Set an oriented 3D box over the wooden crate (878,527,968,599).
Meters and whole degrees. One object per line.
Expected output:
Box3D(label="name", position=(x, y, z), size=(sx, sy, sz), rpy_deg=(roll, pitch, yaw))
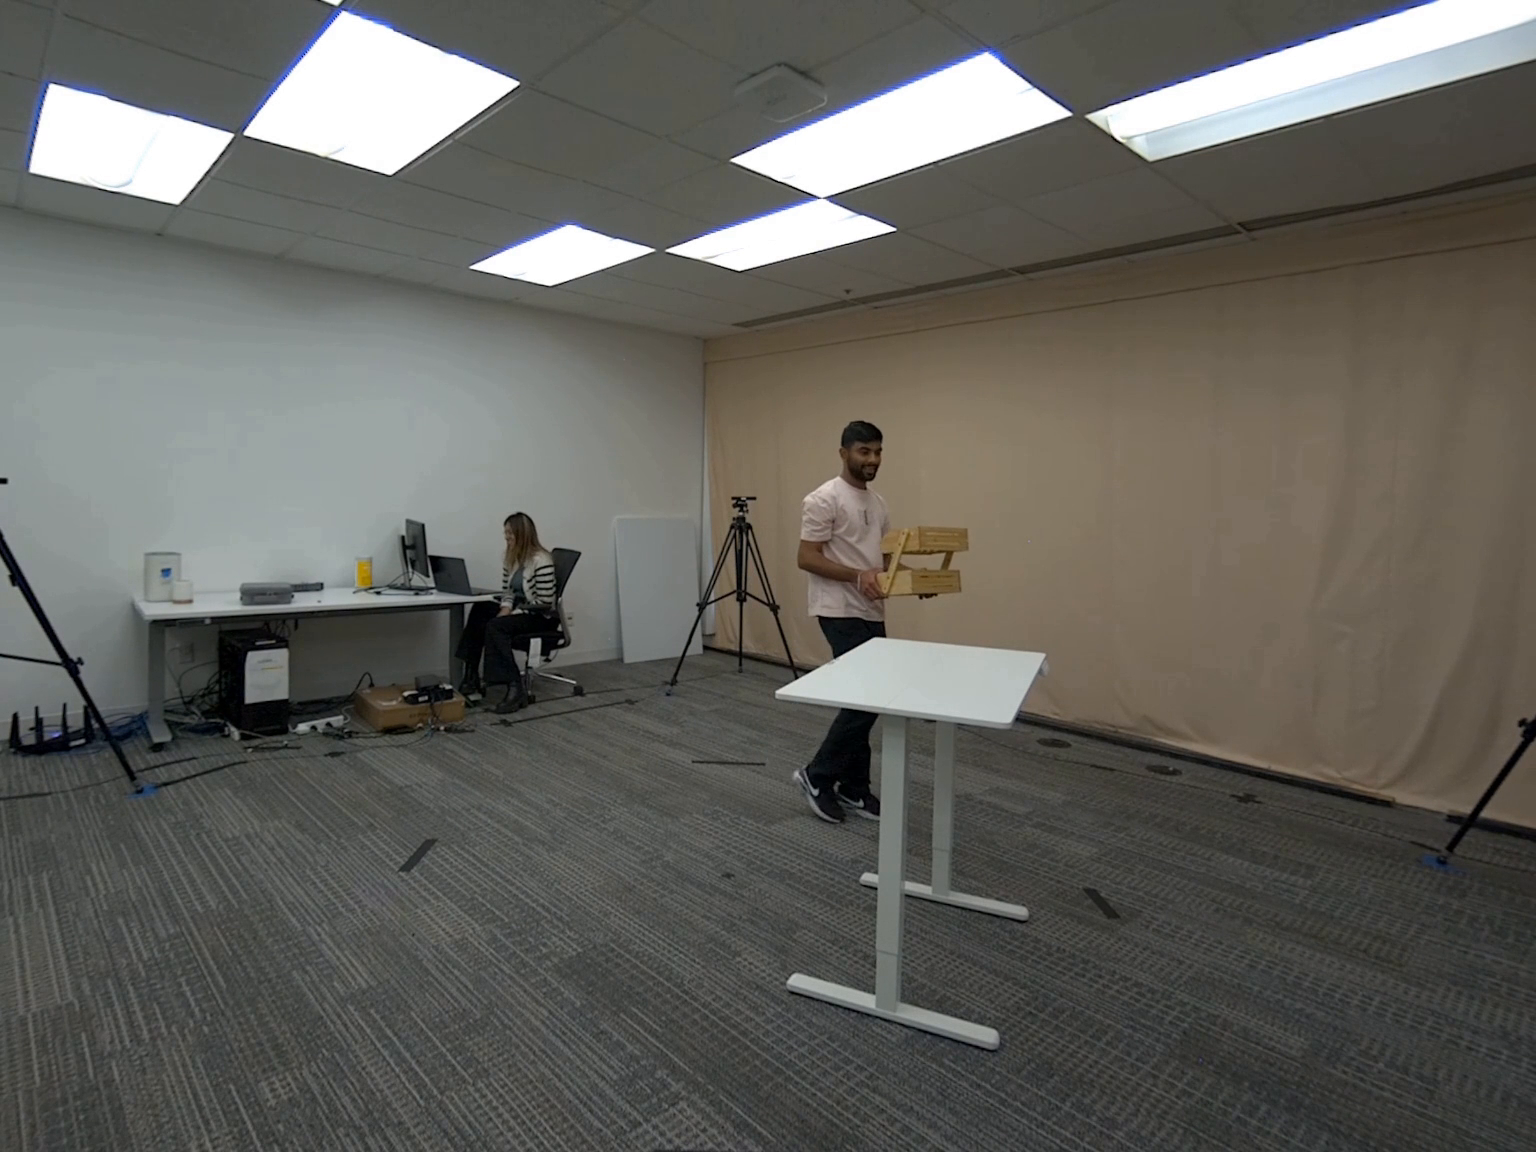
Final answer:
Box3D(label="wooden crate", position=(0.593, -0.059, 3.450), size=(0.317, 0.274, 0.308), rpy_deg=(0, -4, -38))
